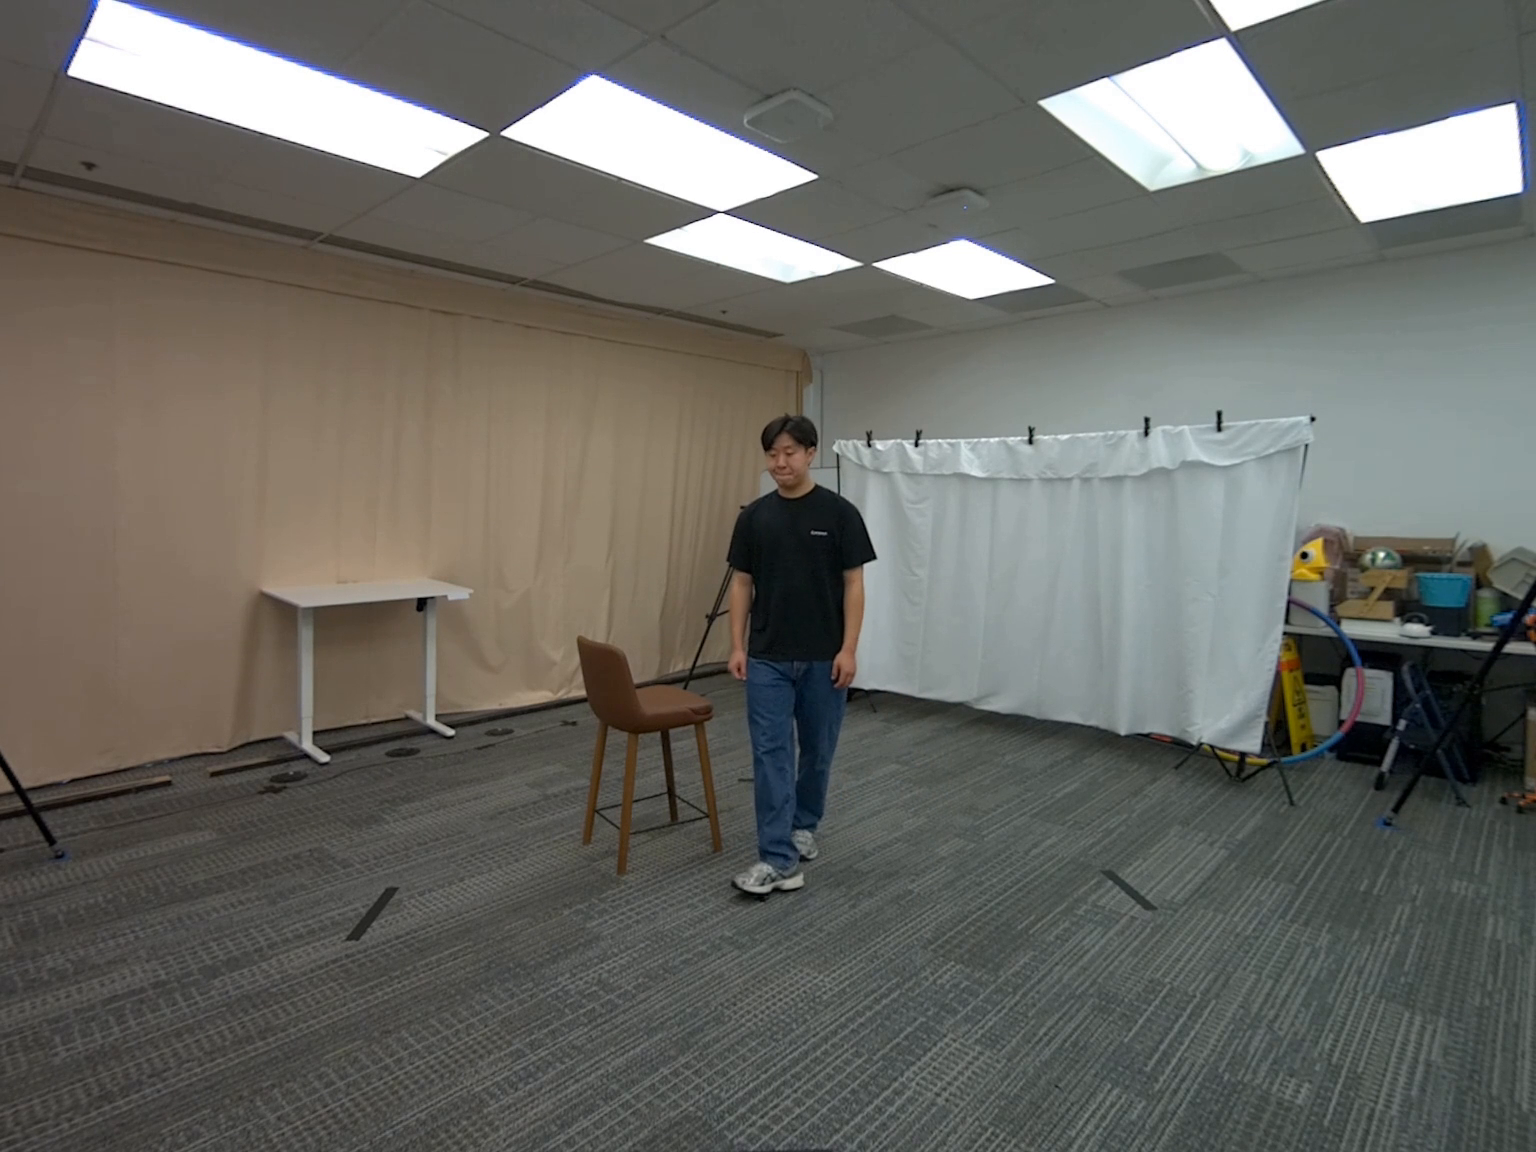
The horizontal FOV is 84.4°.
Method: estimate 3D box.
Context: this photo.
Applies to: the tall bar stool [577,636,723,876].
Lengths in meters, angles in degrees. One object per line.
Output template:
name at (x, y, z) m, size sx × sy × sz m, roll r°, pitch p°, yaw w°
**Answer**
tall bar stool at (-0.489, 0.676, 3.439) m, size 0.455 × 0.887 × 0.470 m, roll -4°, pitch 5°, yaw -33°
